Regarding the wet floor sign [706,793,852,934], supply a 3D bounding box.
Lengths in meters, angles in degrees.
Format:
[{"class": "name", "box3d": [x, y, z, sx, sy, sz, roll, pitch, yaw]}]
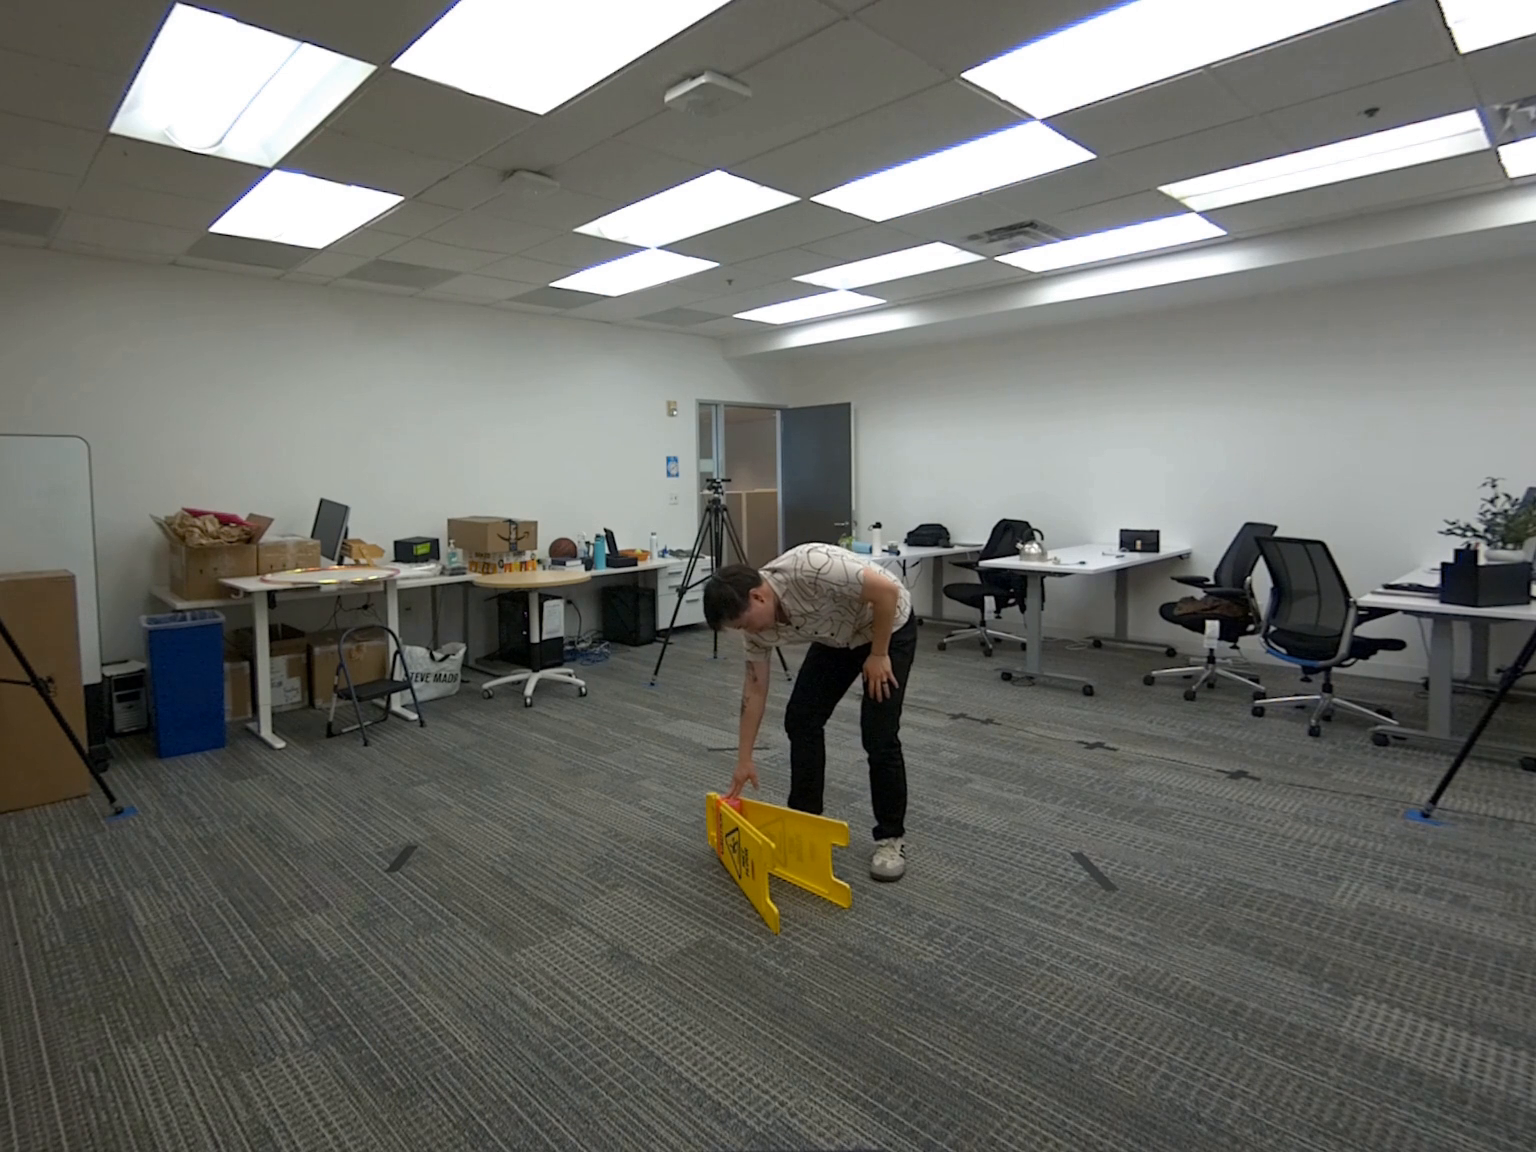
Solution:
[{"class": "wet floor sign", "box3d": [-0.039, 0.932, 2.956, 0.282, 0.281, 0.664, -4, 5, -34]}]
